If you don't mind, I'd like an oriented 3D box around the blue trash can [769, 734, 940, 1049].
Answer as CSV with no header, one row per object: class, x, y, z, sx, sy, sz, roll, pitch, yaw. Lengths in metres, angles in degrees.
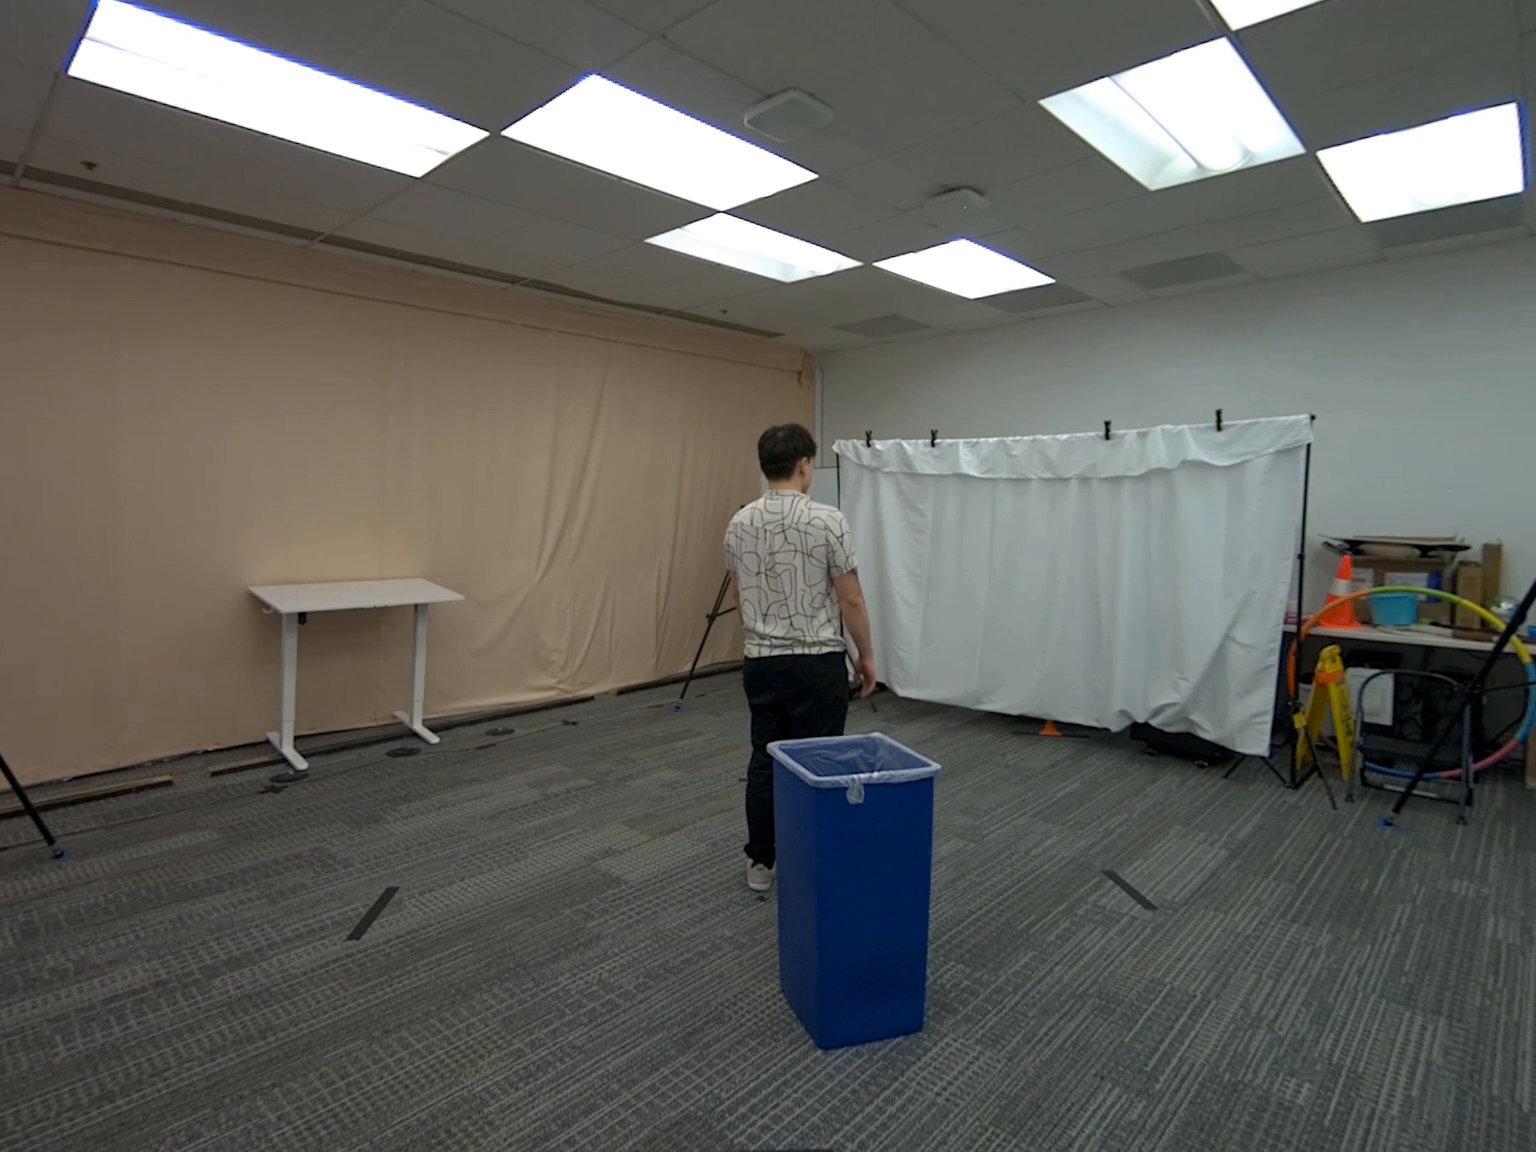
blue trash can,0.222,0.840,2.321,0.371,0.712,0.382,-1,3,-19
